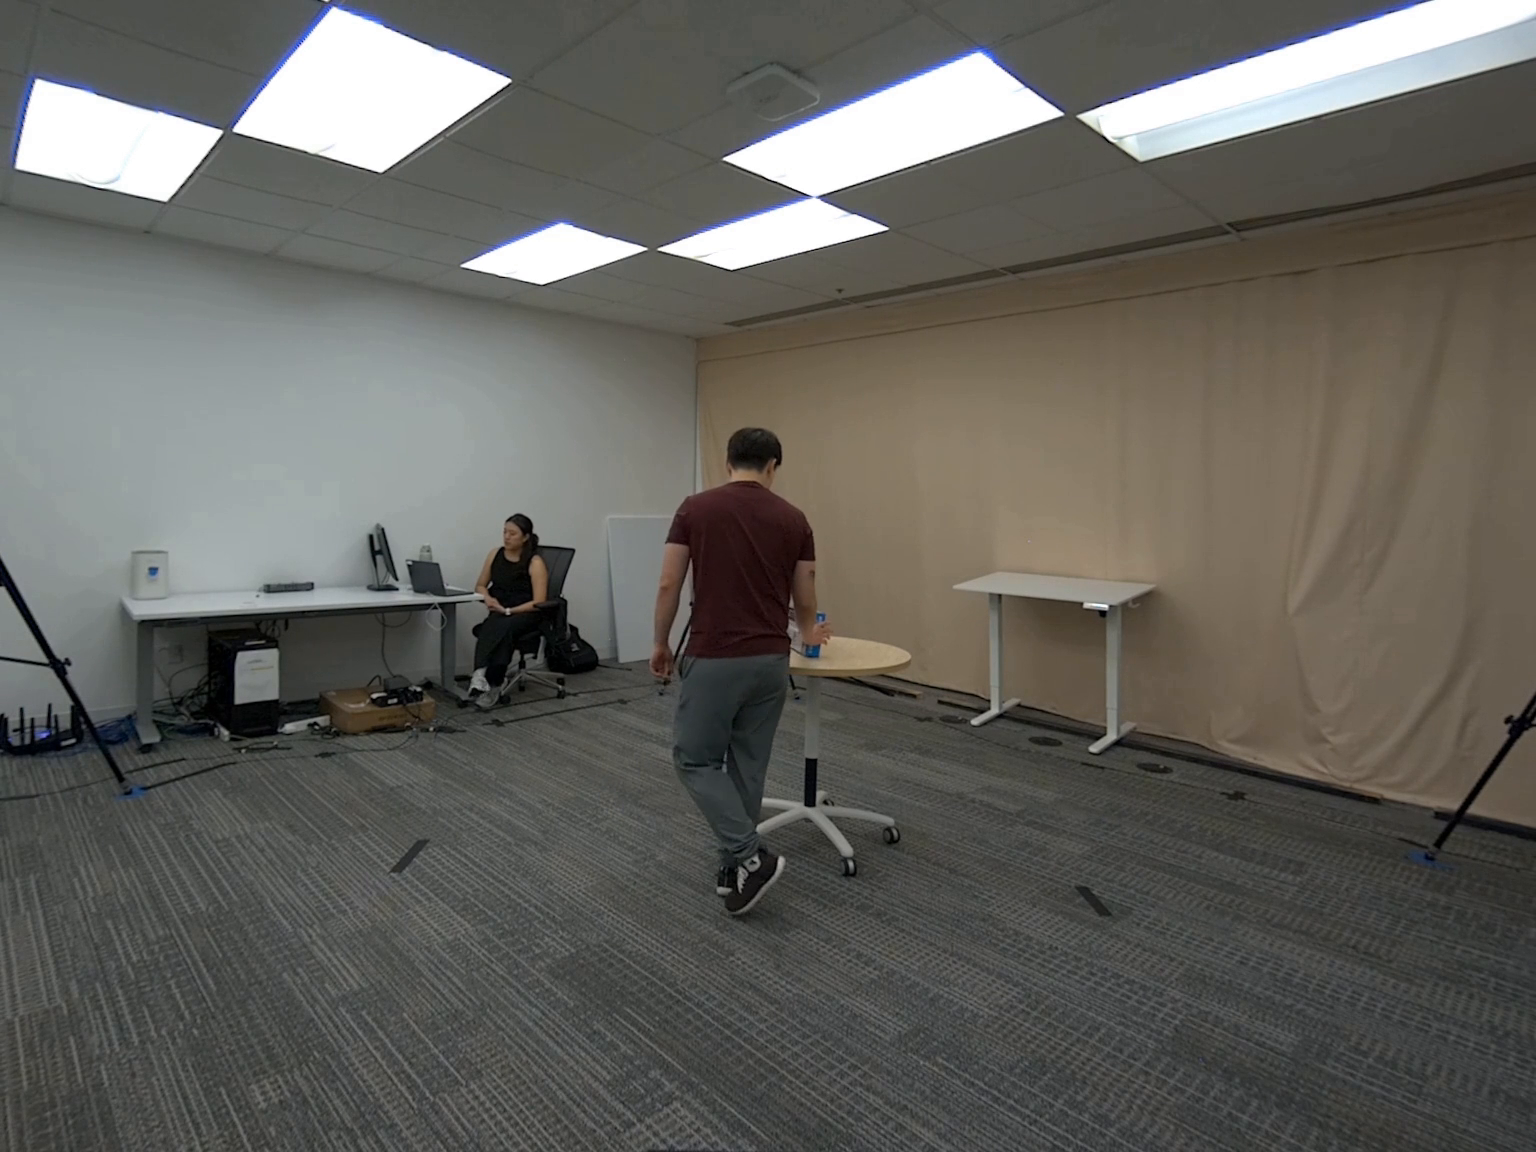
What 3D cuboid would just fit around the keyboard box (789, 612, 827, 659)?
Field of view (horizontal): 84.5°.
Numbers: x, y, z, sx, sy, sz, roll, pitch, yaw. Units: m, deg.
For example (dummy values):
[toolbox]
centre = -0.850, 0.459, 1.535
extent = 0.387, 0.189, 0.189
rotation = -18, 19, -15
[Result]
[keyboard box]
centre = 0.121, 0.211, 3.461
extent = 0.058, 0.176, 0.442
rotation = 9, 3, -14
